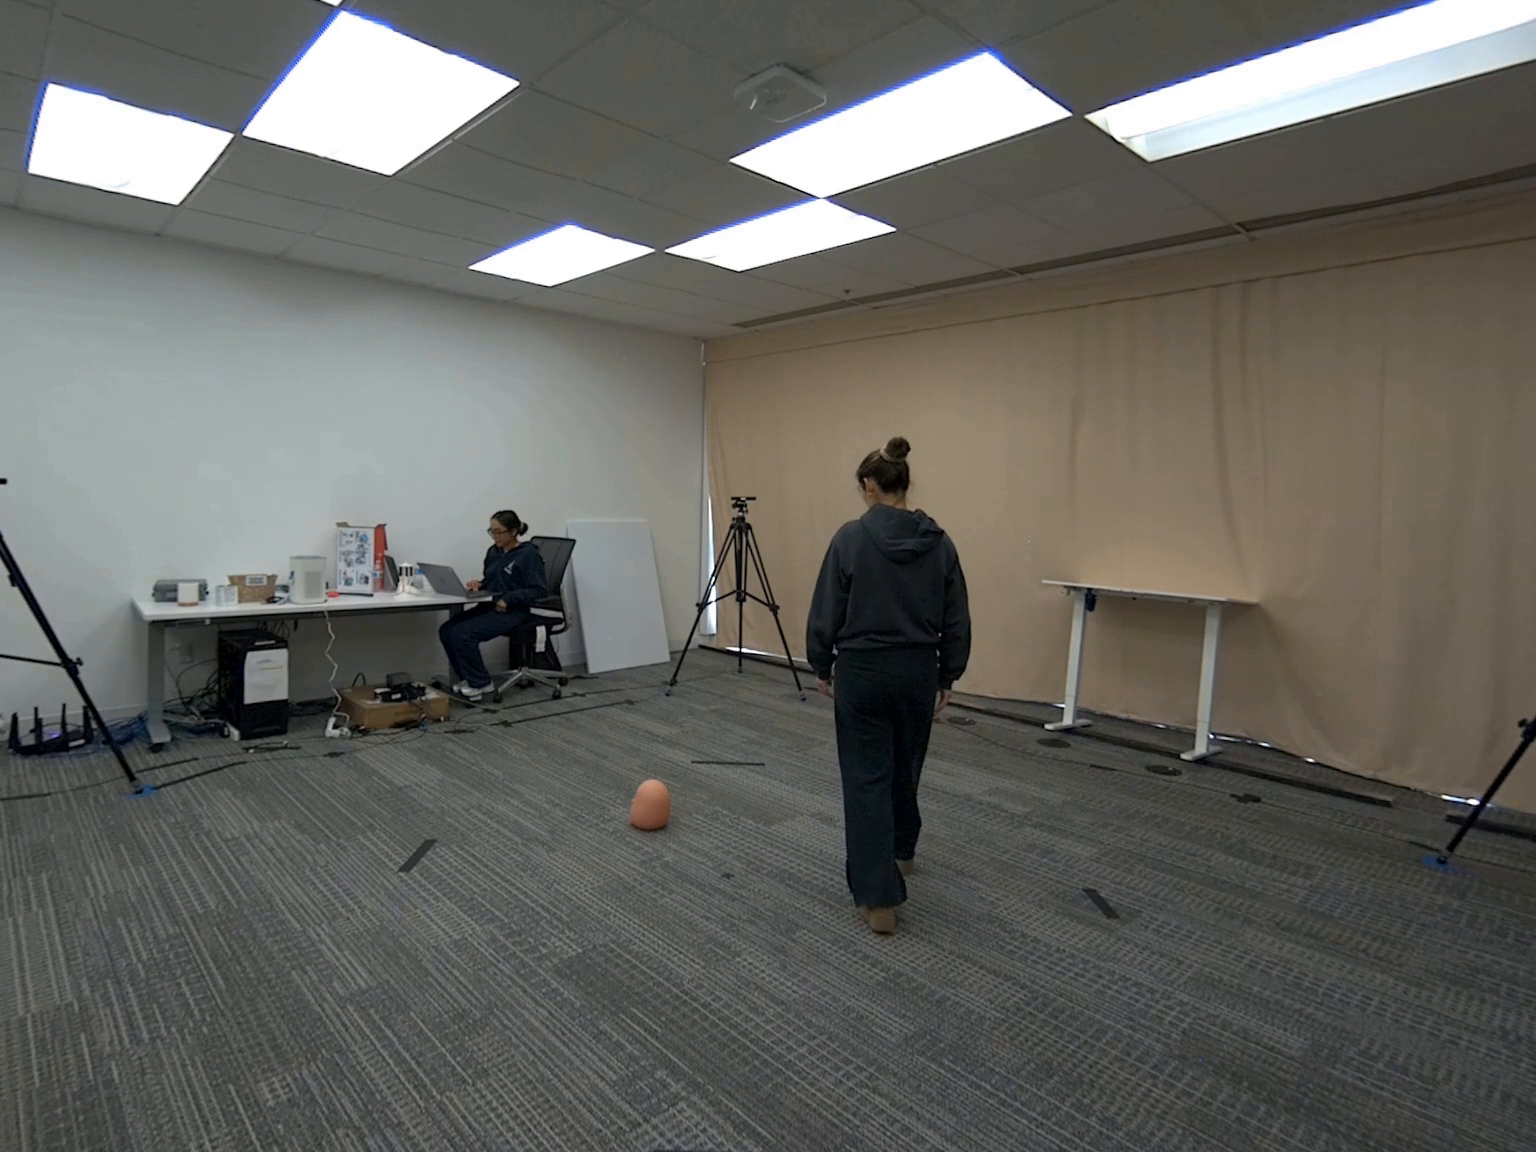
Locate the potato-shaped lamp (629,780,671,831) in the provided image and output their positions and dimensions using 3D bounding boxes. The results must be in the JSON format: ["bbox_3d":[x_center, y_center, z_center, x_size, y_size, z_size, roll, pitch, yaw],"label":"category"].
[{"bbox_3d":[-0.507,0.959,3.562,0.161,0.197,0.176,0,5,-41],"label":"potato-shaped lamp"}]
